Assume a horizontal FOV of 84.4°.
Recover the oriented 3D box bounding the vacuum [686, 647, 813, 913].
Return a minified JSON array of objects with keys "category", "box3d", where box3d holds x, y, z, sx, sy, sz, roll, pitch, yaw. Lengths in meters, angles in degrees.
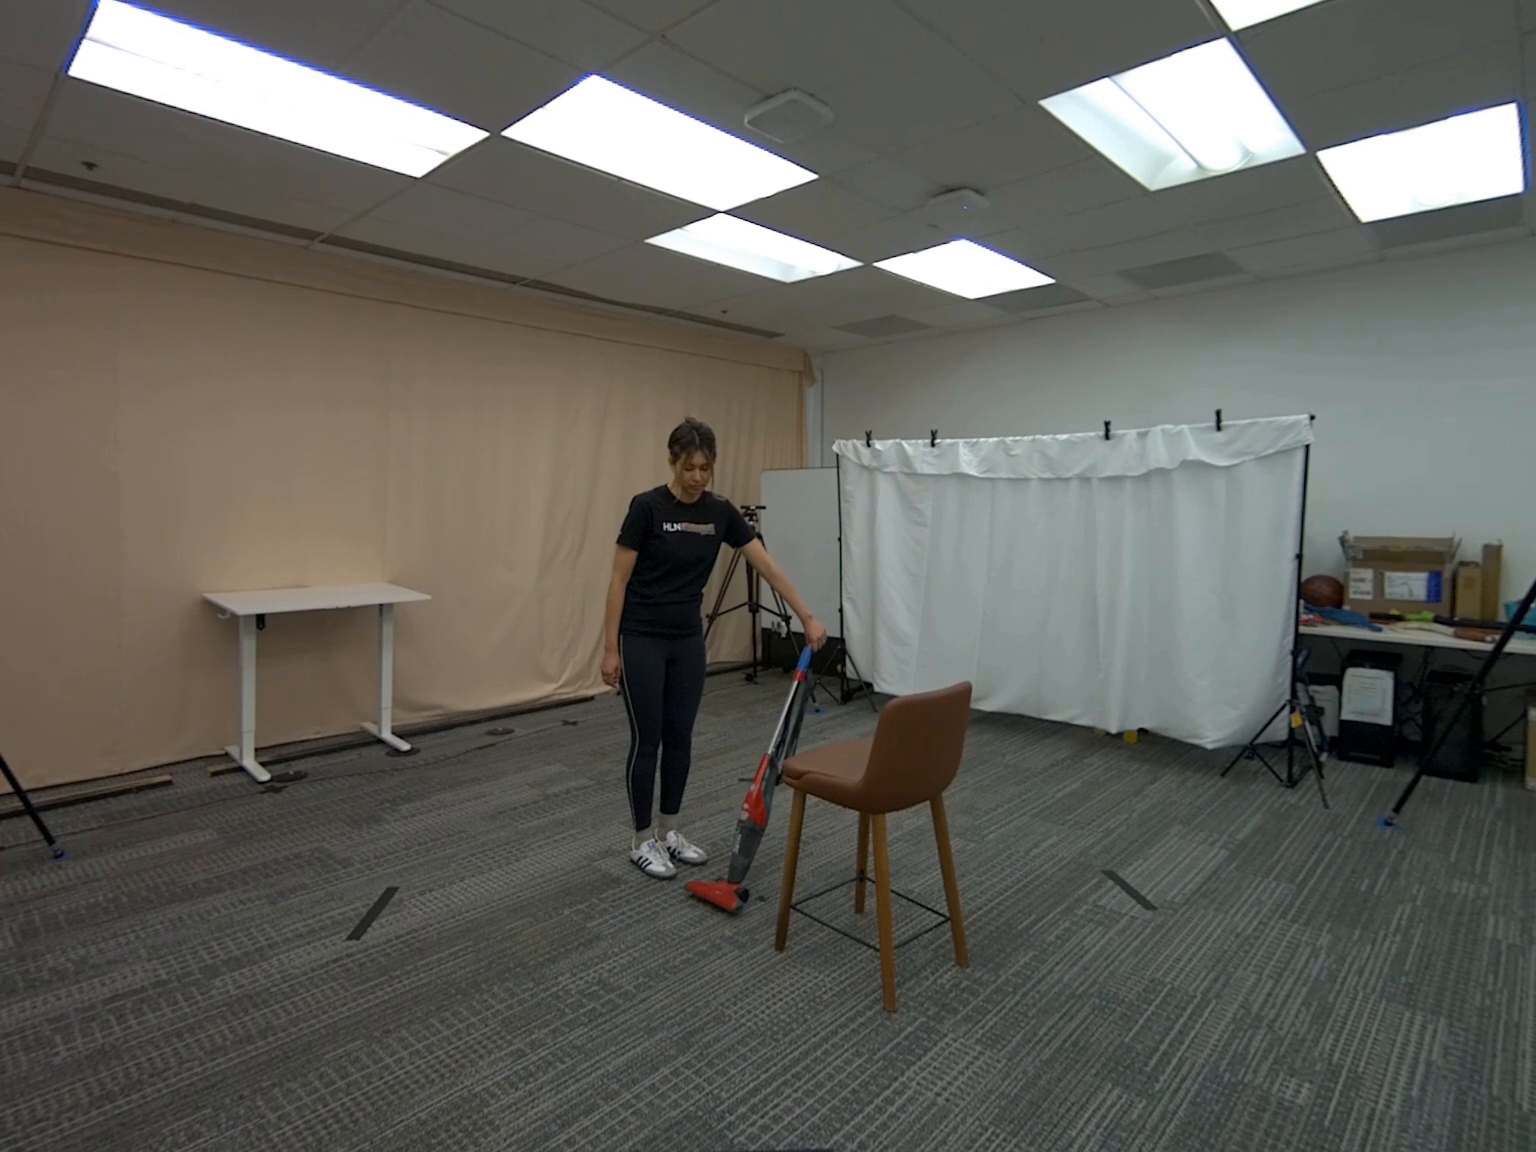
[{"category":"vacuum","box3d":[0.031,0.683,3.134,0.261,1.051,0.139,5,-28,43]}]
